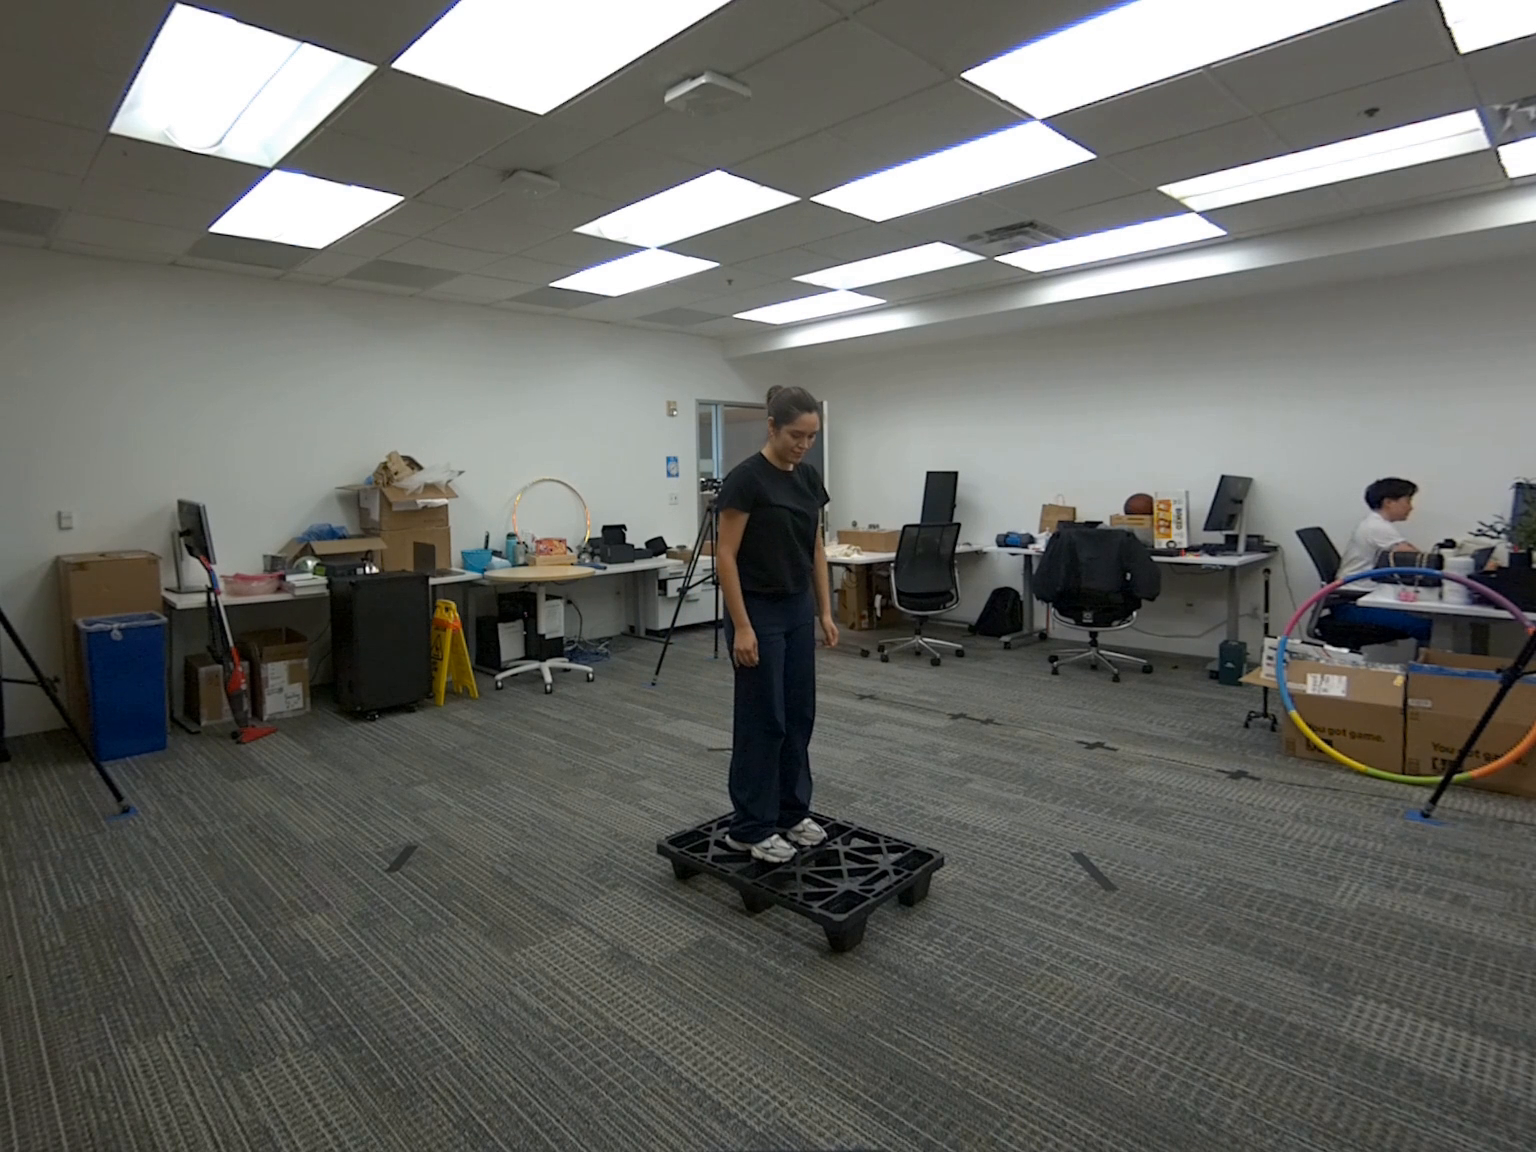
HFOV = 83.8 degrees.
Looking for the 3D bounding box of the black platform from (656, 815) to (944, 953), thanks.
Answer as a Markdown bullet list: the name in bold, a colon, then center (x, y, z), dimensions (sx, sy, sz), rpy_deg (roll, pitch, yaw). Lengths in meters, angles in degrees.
- **black platform**: center (0.097, 0.993, 2.926), dimensions (0.830, 0.142, 0.590), rpy_deg (5, 9, 43)
